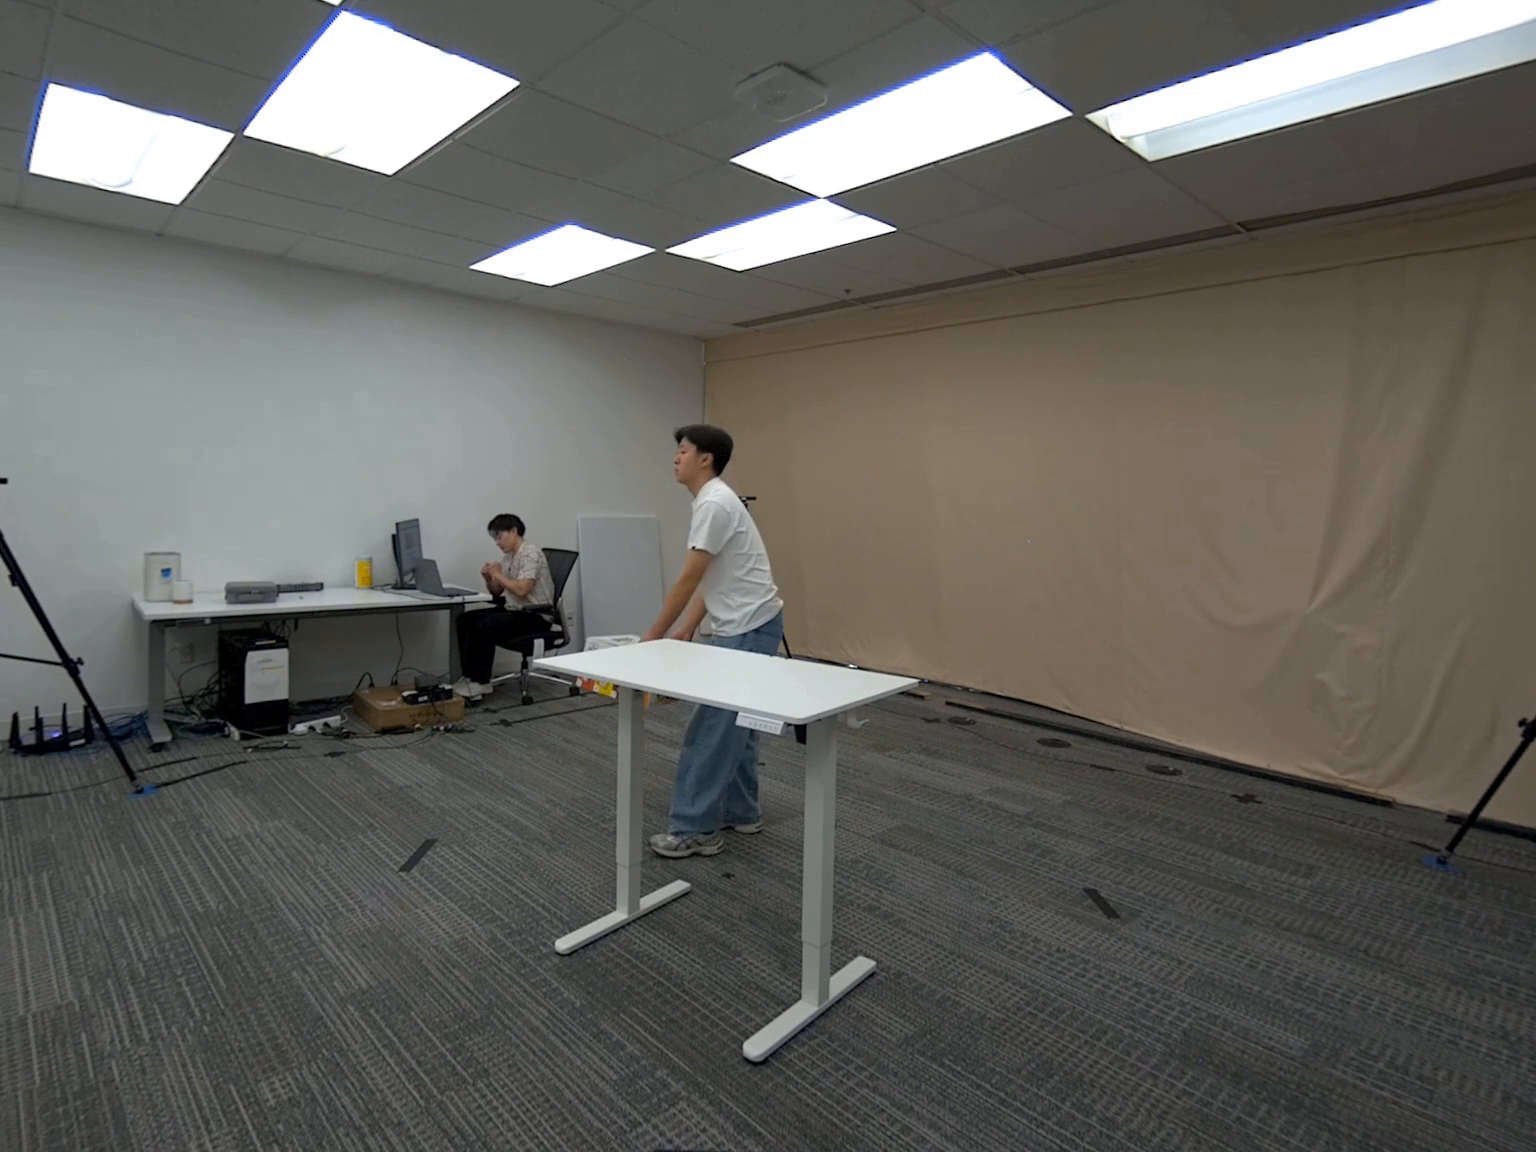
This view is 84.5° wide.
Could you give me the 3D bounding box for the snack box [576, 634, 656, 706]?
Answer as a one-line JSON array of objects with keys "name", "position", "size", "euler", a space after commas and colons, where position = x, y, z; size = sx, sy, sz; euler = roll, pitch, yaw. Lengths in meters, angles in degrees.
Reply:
[{"name": "snack box", "position": [-0.530, 0.400, 3.526], "size": [0.347, 0.205, 0.398], "euler": [14, 3, 21]}]
